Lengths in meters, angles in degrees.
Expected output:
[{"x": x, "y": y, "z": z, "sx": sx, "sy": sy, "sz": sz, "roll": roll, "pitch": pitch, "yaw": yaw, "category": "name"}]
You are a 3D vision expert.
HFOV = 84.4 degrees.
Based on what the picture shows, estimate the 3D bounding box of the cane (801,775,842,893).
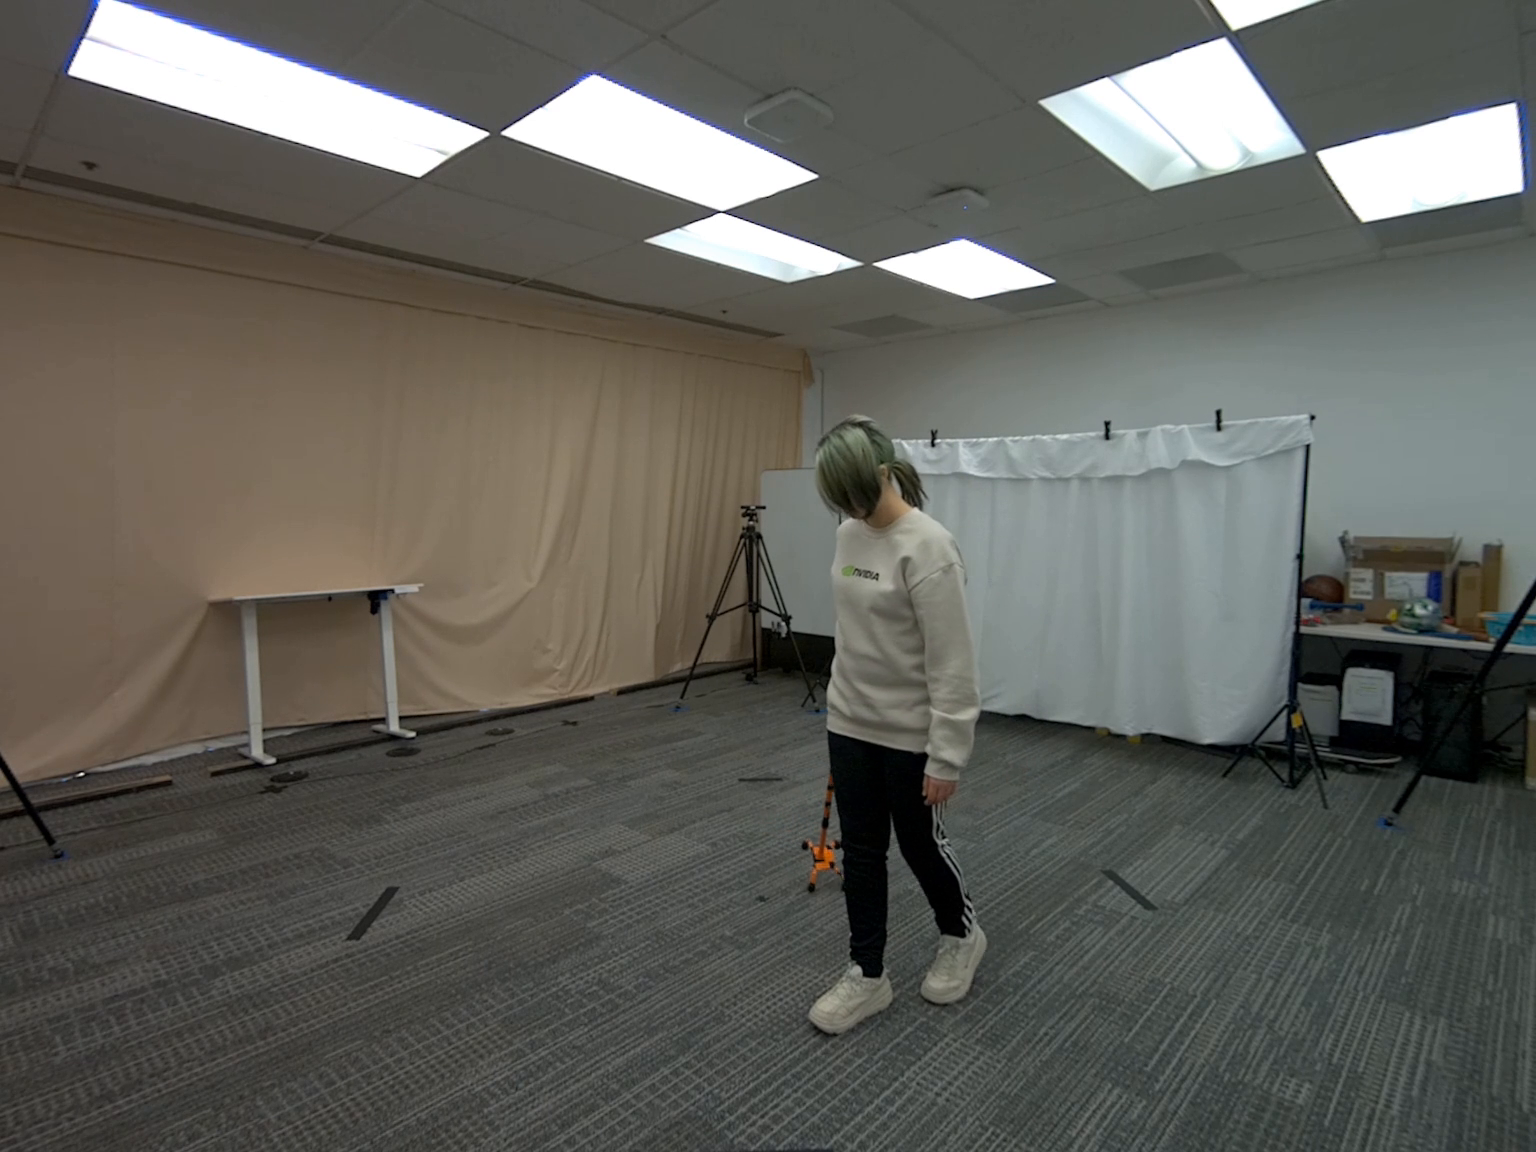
[{"x": 0.228, "y": 0.714, "z": 2.871, "sx": 0.151, "sy": 0.893, "sz": 0.211, "roll": -1, "pitch": 34, "yaw": -5, "category": "cane"}]
